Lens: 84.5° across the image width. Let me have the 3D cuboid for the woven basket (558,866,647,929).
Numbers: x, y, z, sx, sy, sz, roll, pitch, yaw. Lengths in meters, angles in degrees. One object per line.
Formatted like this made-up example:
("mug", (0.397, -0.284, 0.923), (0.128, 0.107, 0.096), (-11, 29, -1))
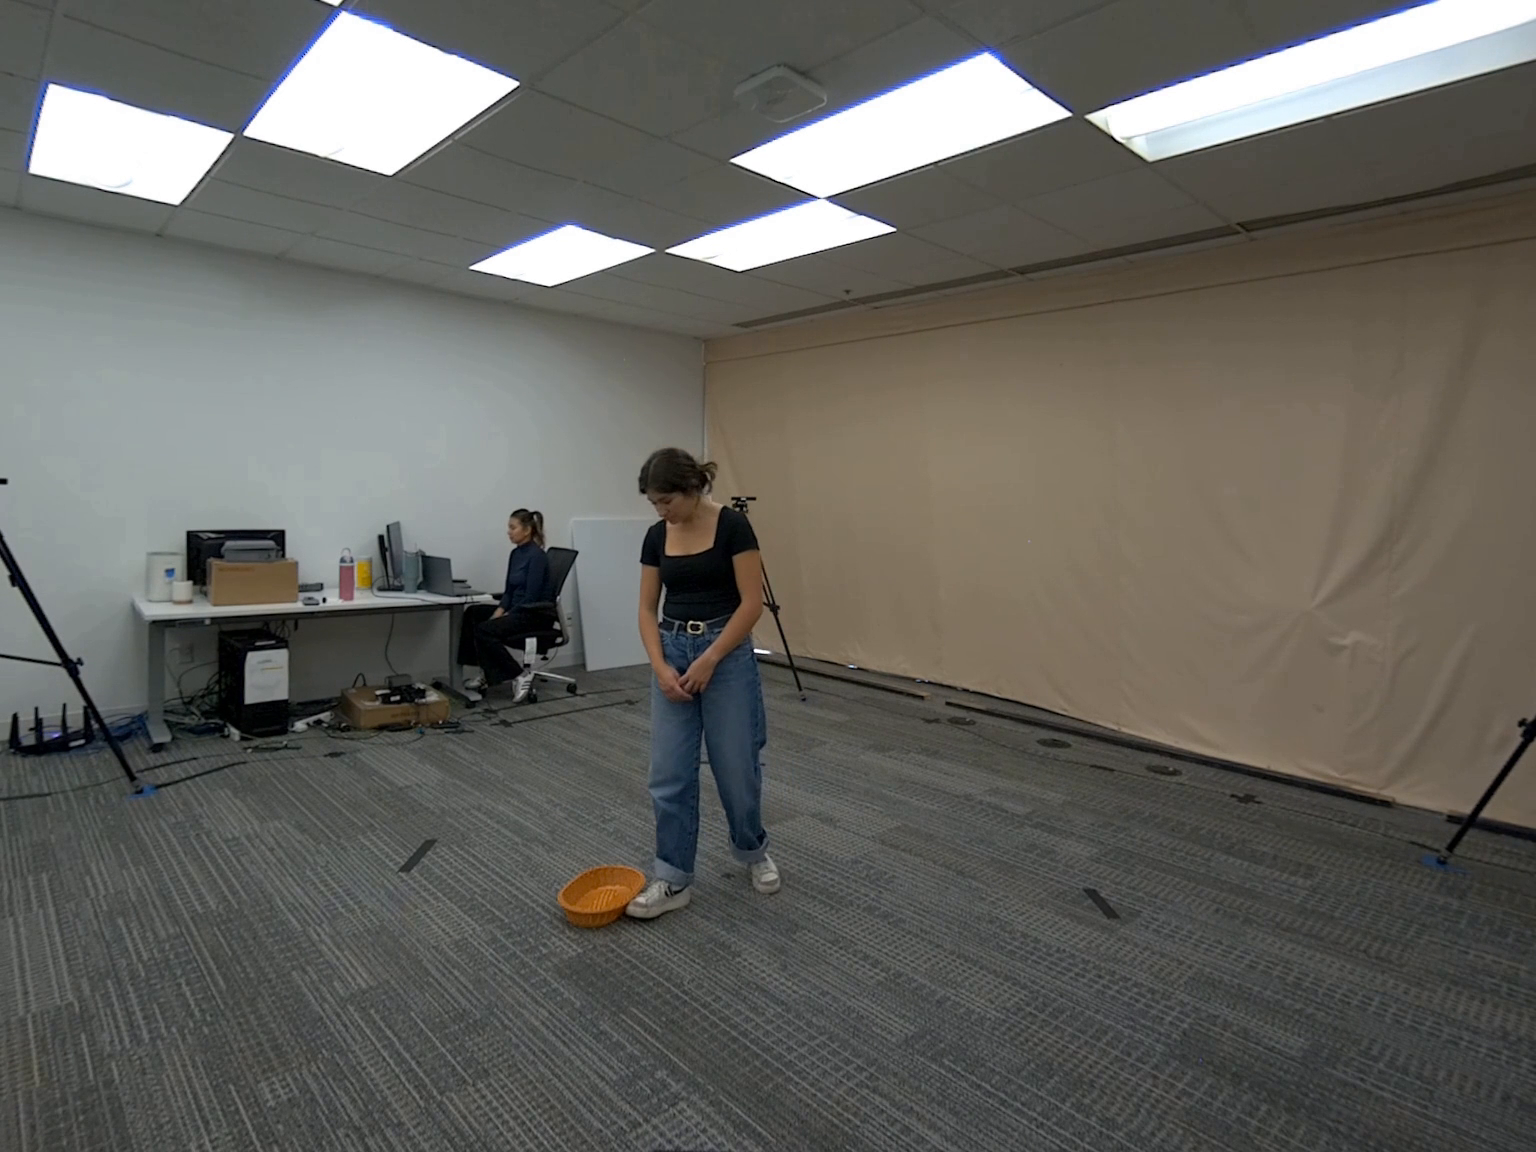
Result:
("woven basket", (-0.556, 1.078, 2.837), (0.257, 0.073, 0.345), (2, 5, 21))
